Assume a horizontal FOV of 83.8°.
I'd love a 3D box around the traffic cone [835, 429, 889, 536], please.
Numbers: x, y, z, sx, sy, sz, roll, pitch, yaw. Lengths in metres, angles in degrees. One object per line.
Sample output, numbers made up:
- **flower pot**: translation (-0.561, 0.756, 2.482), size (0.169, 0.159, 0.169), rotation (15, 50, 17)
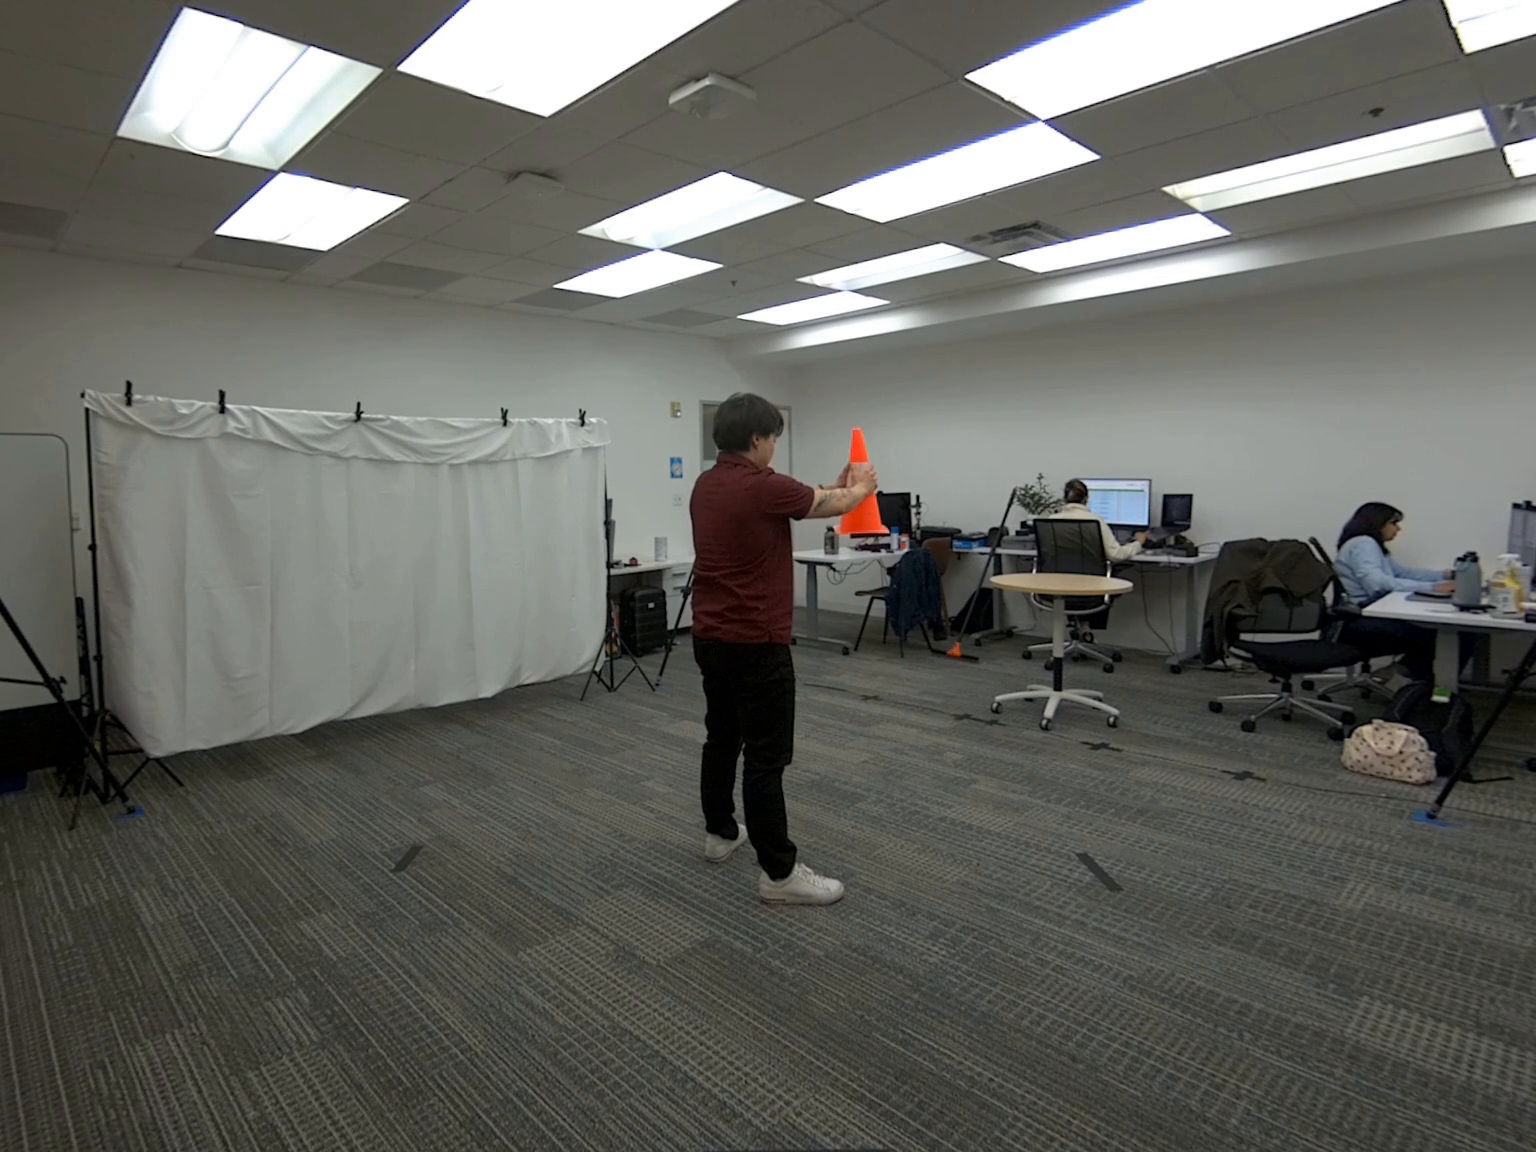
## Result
- **traffic cone**: translation (0.349, -0.354, 3.224), size (0.211, 0.382, 0.198), rotation (2, 7, 45)
